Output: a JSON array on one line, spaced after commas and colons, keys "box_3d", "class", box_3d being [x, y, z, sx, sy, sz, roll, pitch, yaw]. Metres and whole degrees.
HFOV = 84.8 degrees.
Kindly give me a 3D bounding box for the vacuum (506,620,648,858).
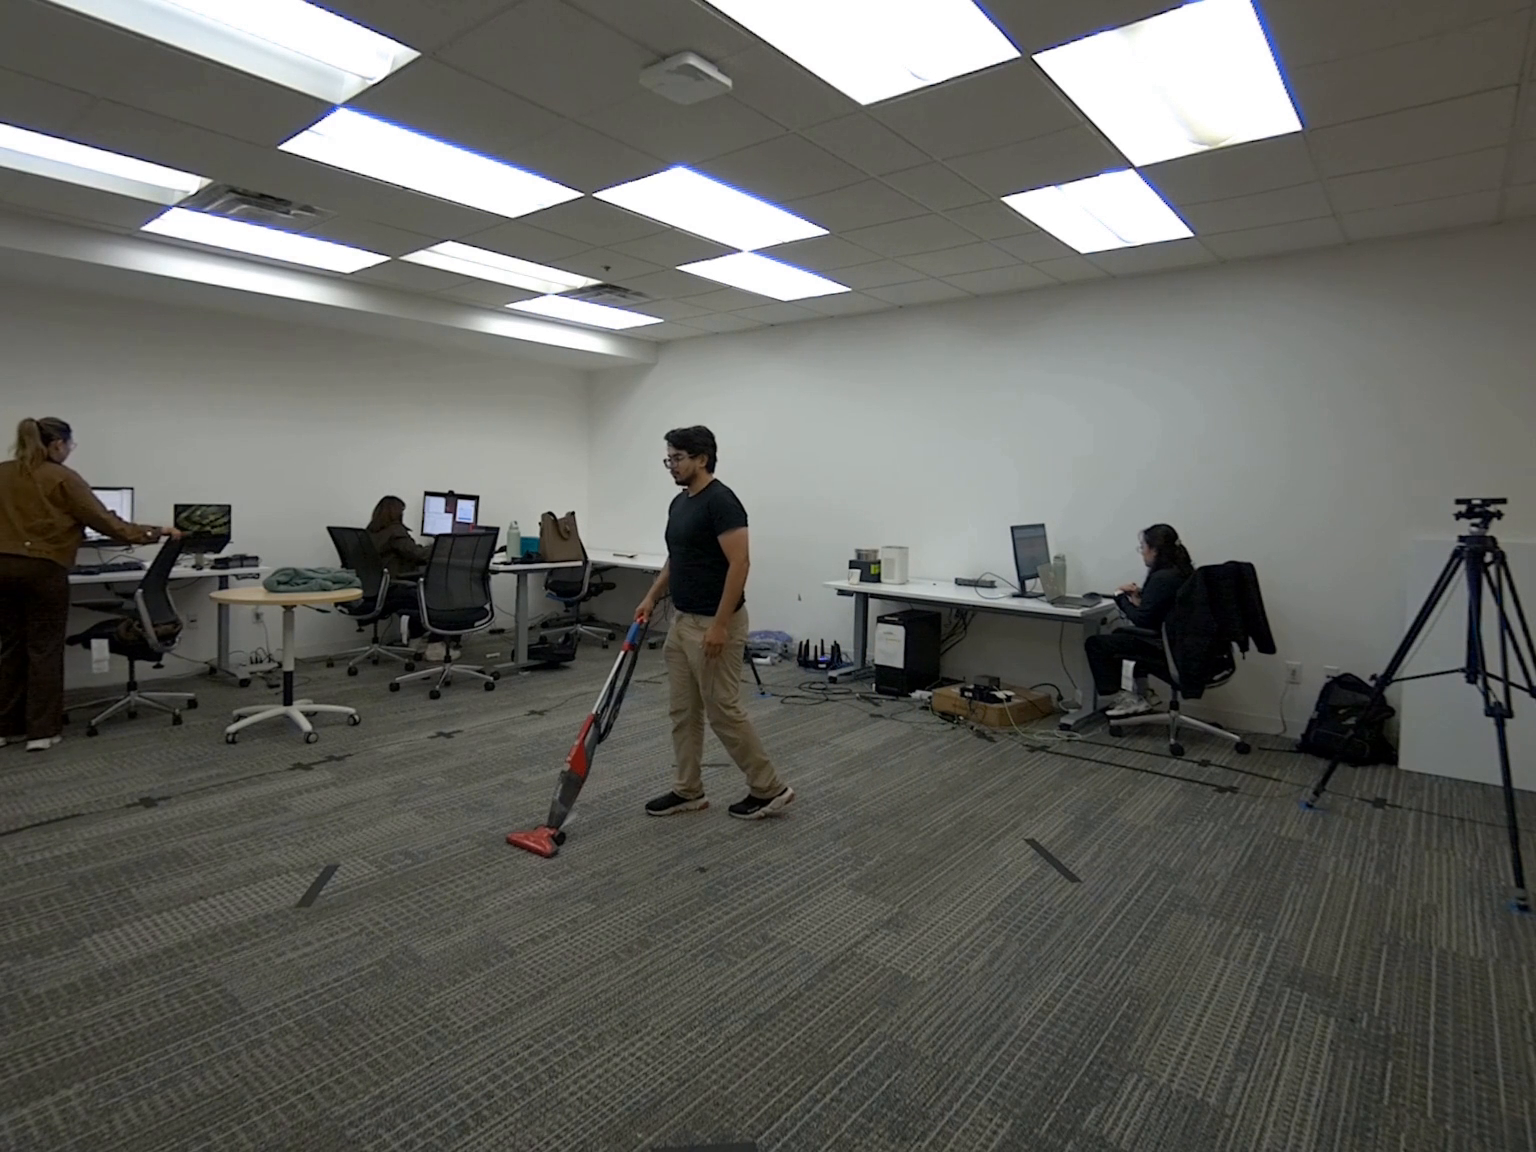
[{"box_3d": [-0.714, 0.598, 3.525, 0.260, 1.061, 0.138, 3, -32, 35], "class": "vacuum"}]
